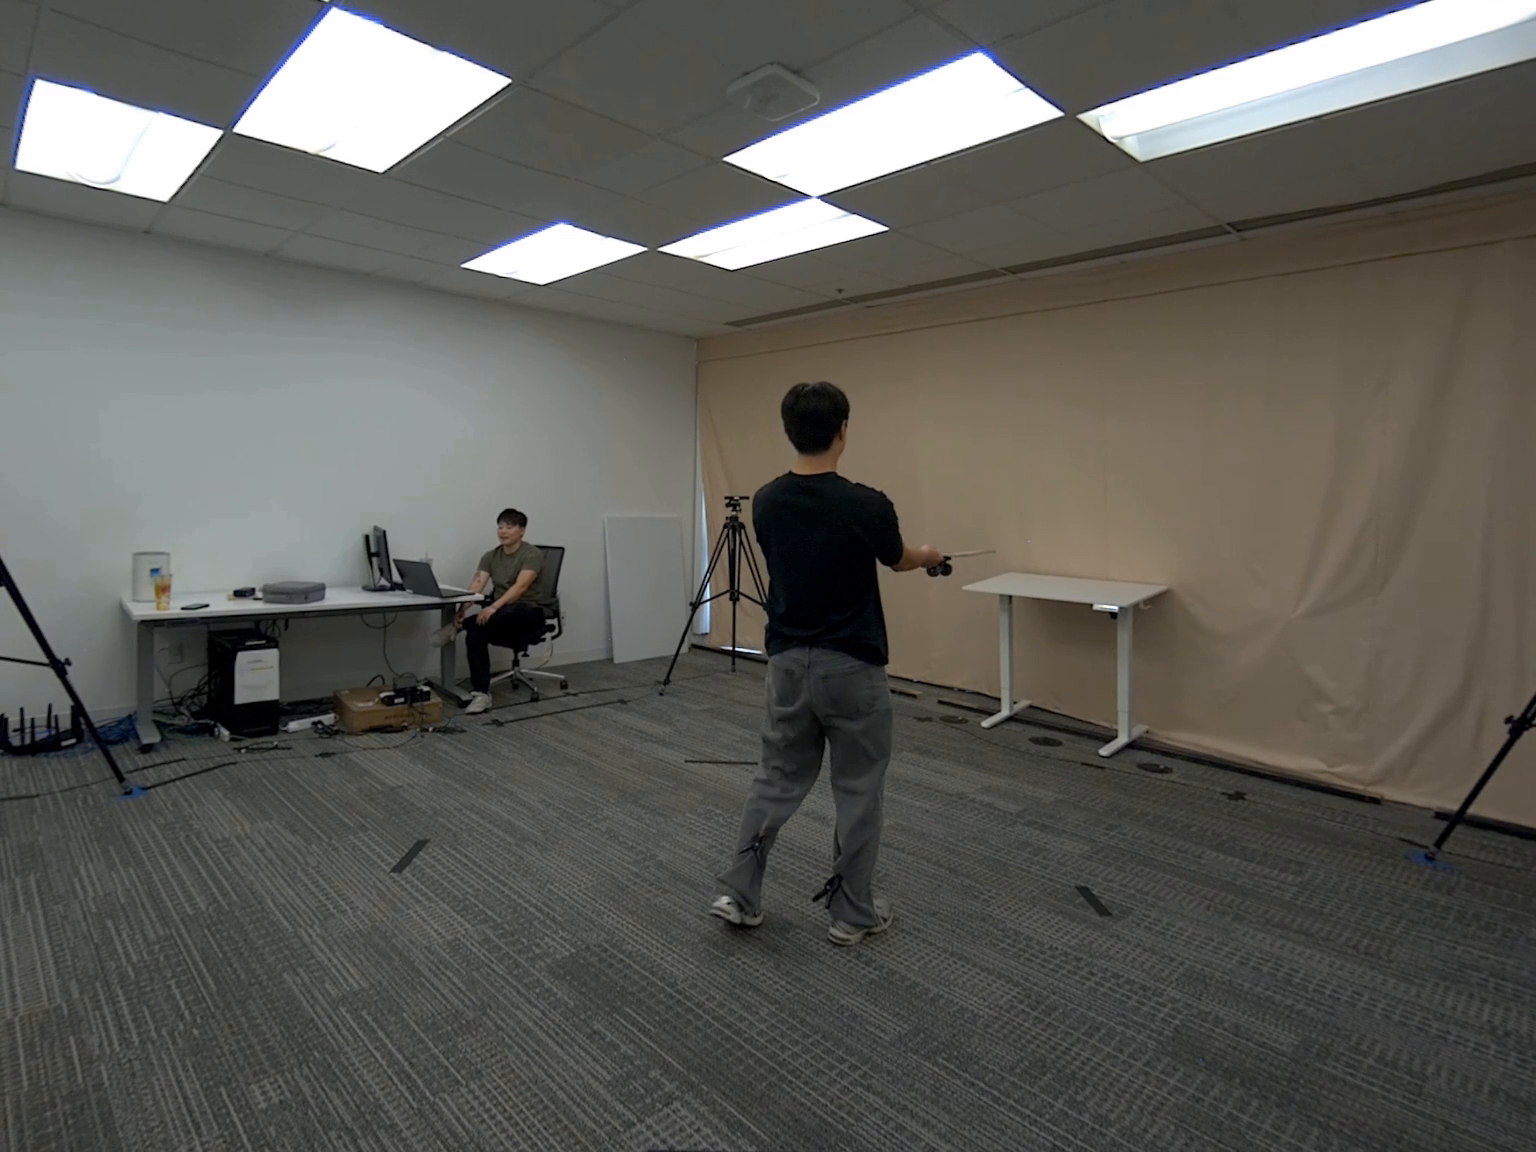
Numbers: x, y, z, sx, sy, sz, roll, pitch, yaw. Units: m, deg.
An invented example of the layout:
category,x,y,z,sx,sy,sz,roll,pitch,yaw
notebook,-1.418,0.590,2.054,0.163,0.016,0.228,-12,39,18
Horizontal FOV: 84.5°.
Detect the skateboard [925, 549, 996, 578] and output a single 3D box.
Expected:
category,x,y,z,sx,sy,sz,roll,pitch,yaw
skateboard,0.453,-0.060,3.192,0.803,0.110,0.189,4,0,32
